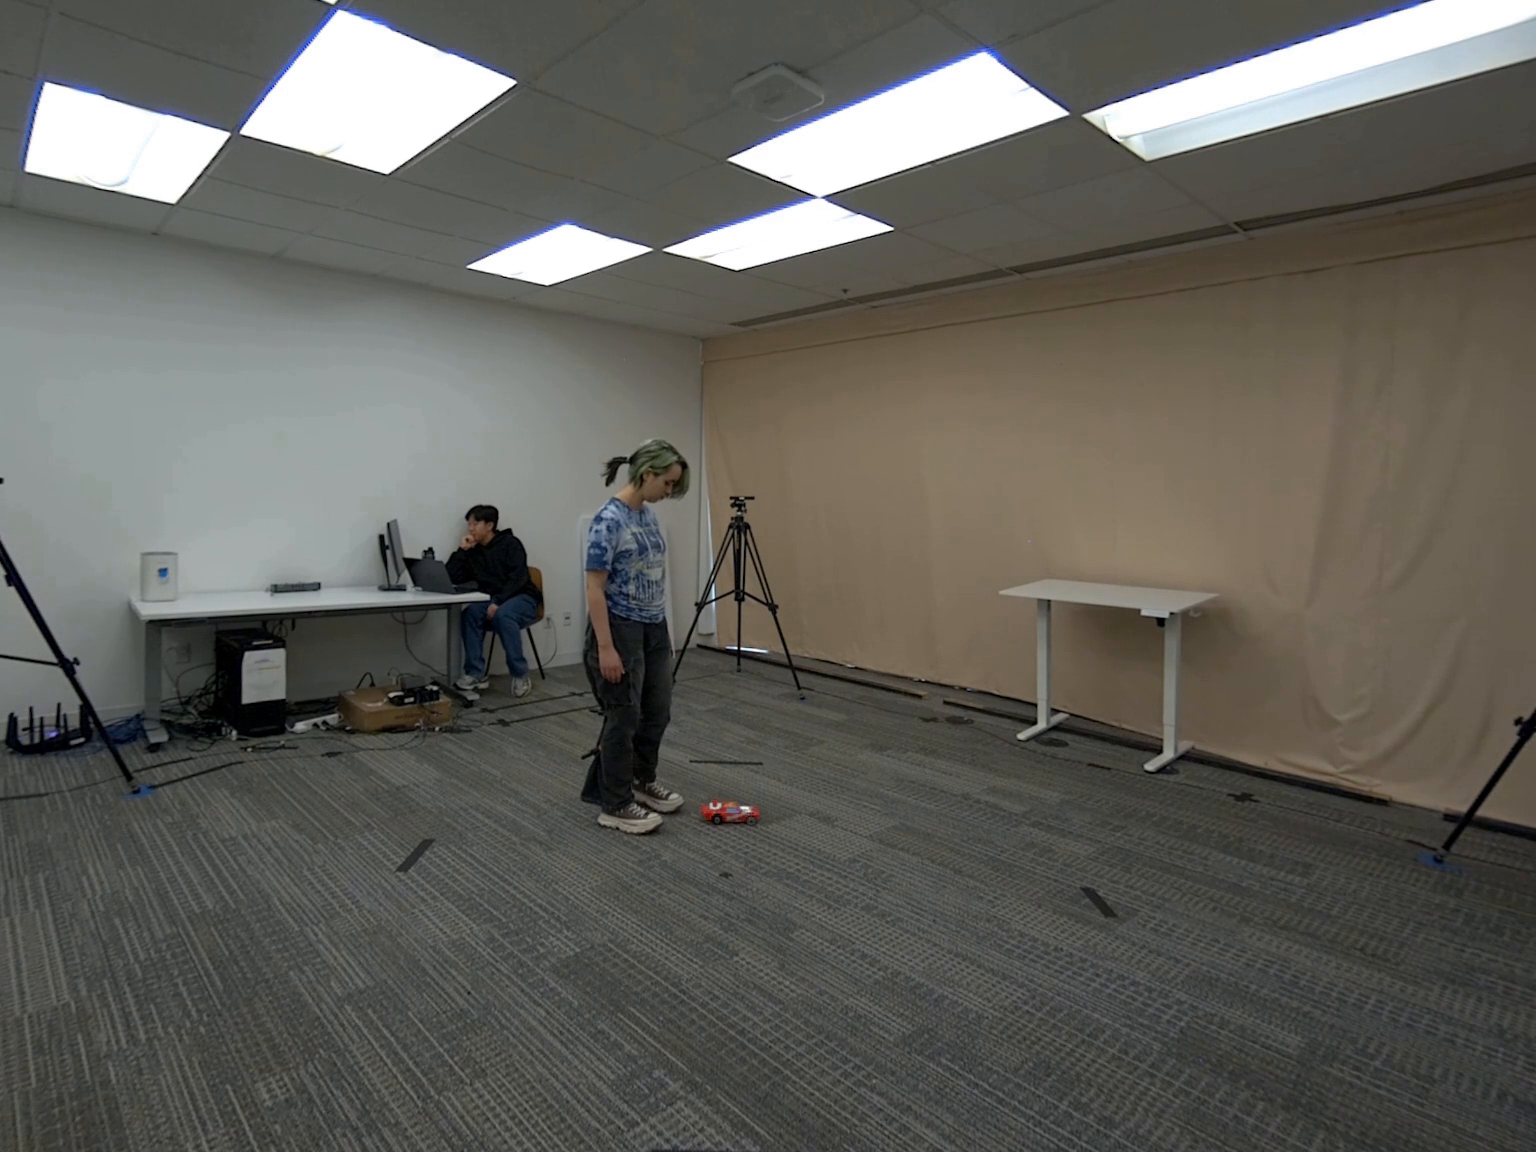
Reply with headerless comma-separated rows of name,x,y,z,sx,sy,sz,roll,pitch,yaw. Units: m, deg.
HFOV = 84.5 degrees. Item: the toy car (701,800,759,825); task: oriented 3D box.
toy car,-0.178,1.028,3.638,0.254,0.083,0.131,11,5,-2
